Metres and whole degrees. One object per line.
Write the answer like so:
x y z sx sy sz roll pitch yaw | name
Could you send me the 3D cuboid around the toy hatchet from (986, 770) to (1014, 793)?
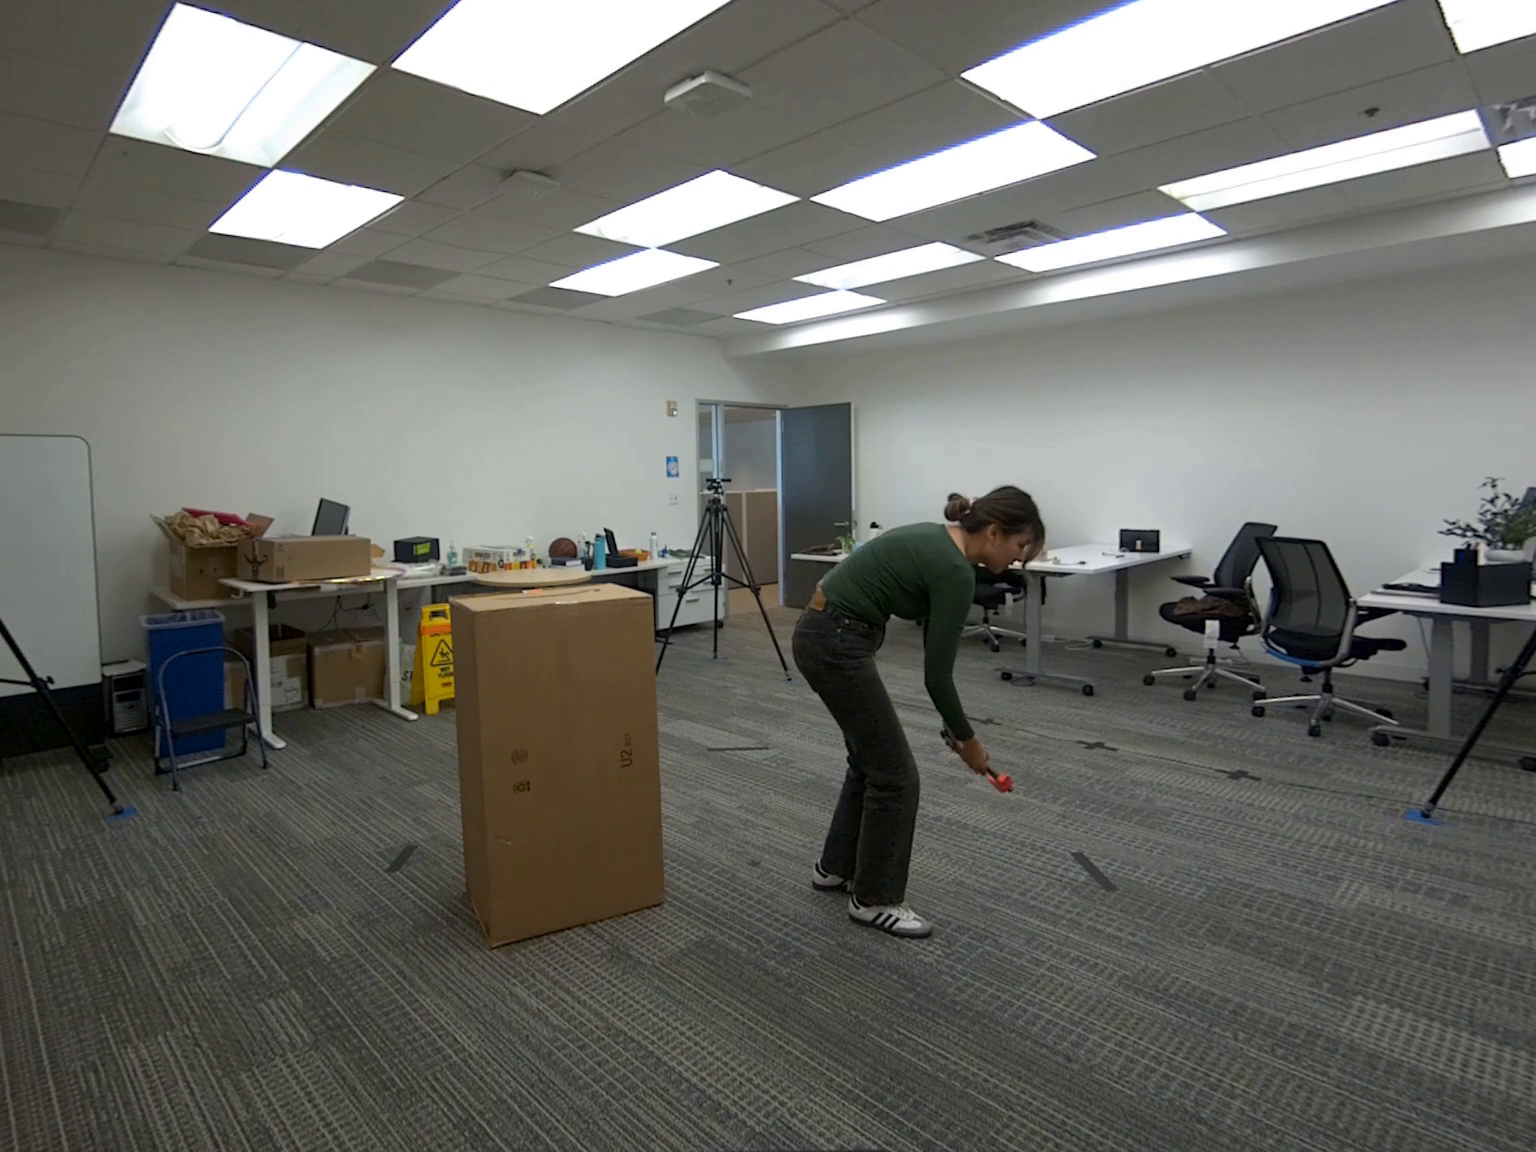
0.663 0.598 2.677 0.029 0.126 0.280 -41 40 -19 | toy hatchet
